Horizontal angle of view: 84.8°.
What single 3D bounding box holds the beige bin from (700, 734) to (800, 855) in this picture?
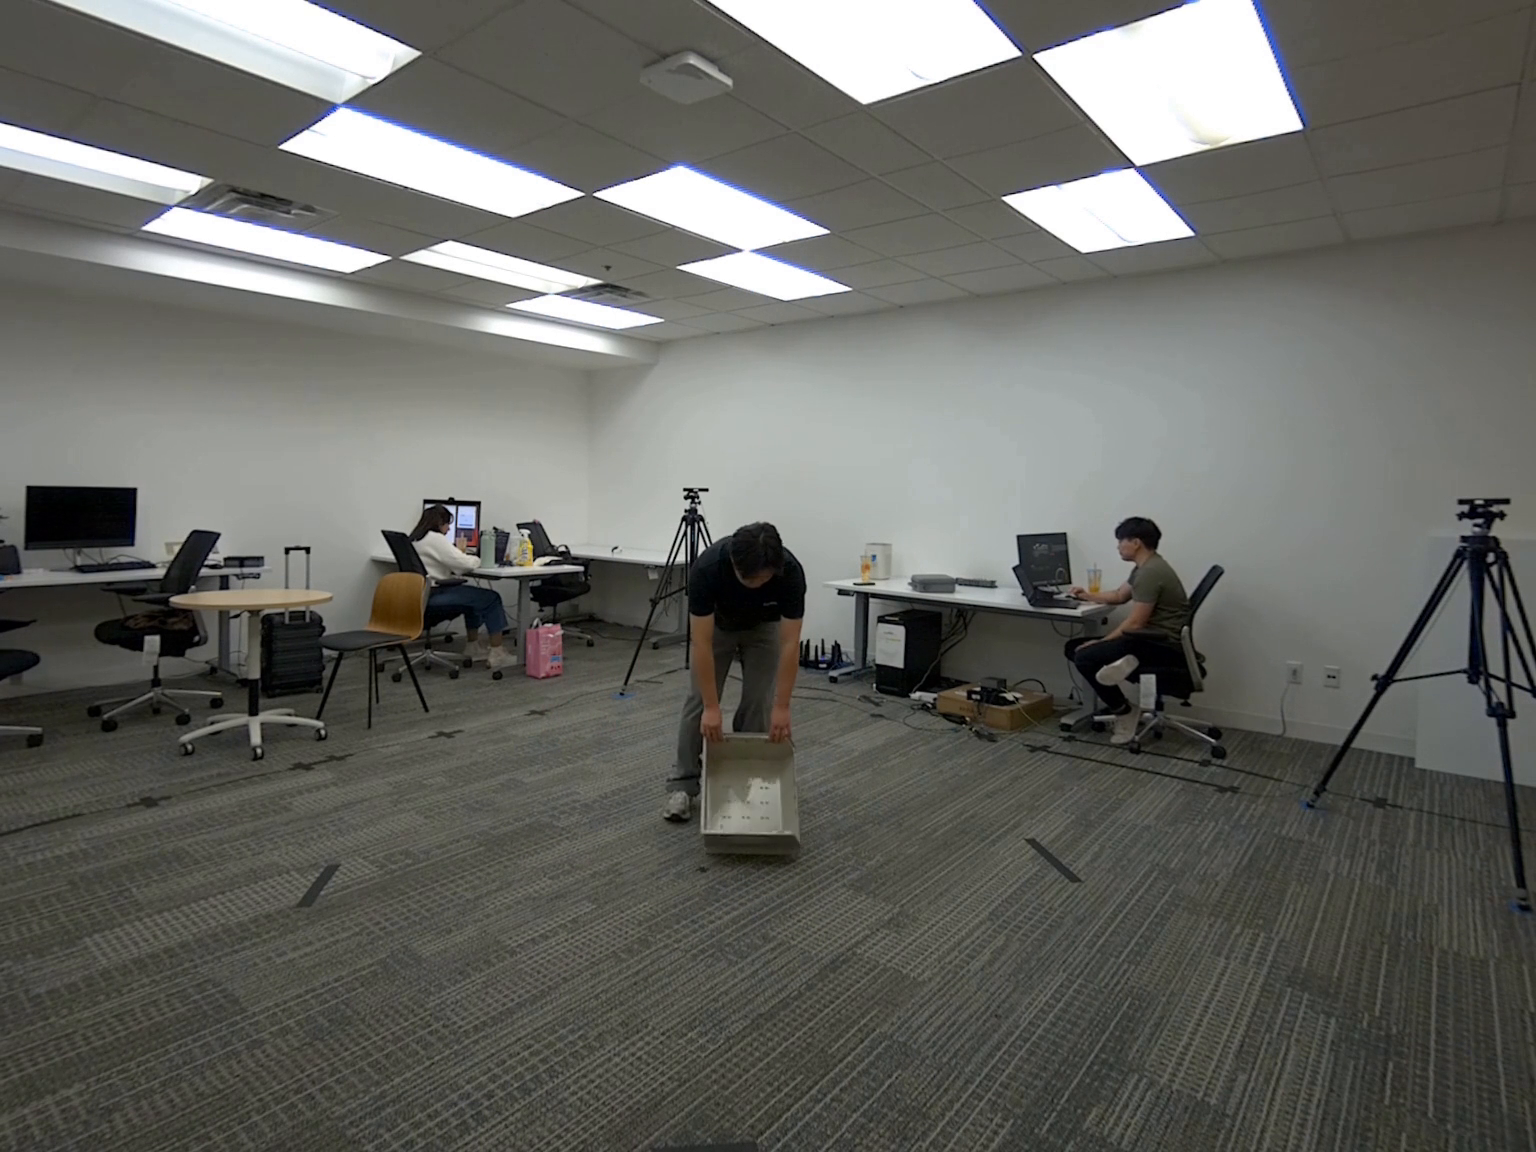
[{"bbox_3d":[-0.076,0.846,3.332,0.378,0.183,0.434,-1,47,0],"label":"beige bin"}]
